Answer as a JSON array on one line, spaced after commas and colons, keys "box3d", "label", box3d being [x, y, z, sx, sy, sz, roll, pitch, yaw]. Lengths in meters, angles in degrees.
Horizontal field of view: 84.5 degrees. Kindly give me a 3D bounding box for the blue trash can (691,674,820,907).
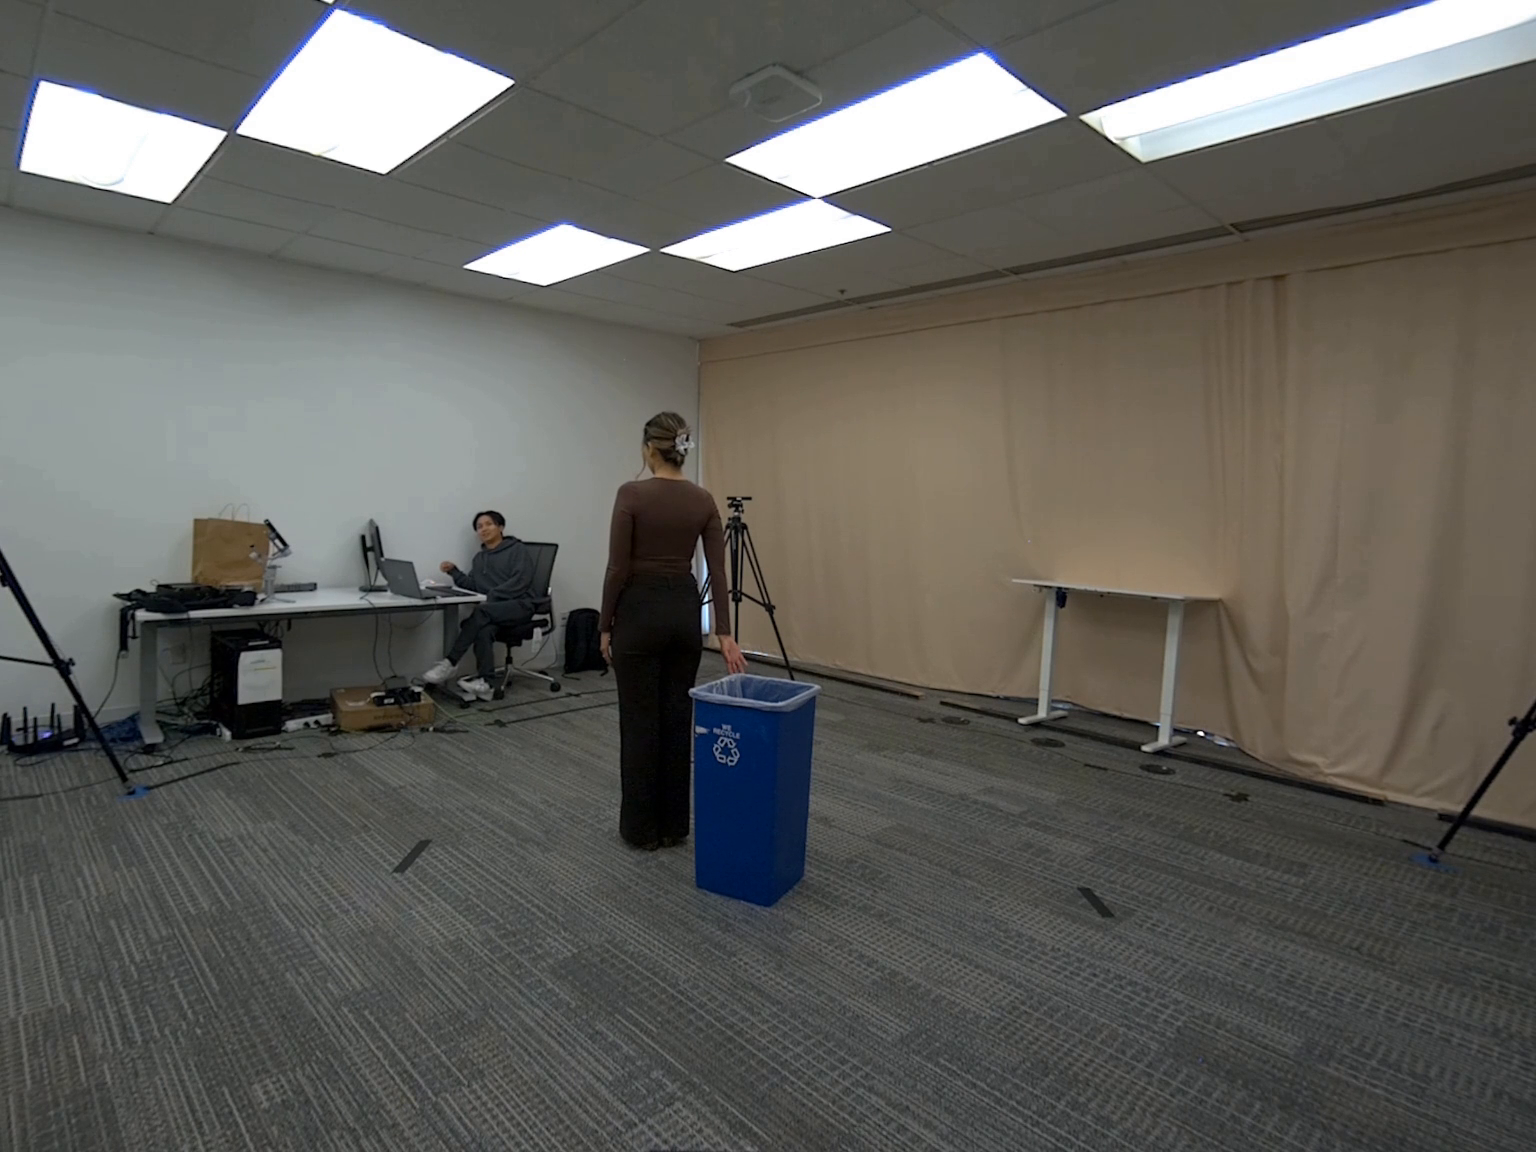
[{"box3d": [-0.062, 0.754, 3.047, 0.386, 0.711, 0.367, 3, 5, 27], "label": "blue trash can"}]
